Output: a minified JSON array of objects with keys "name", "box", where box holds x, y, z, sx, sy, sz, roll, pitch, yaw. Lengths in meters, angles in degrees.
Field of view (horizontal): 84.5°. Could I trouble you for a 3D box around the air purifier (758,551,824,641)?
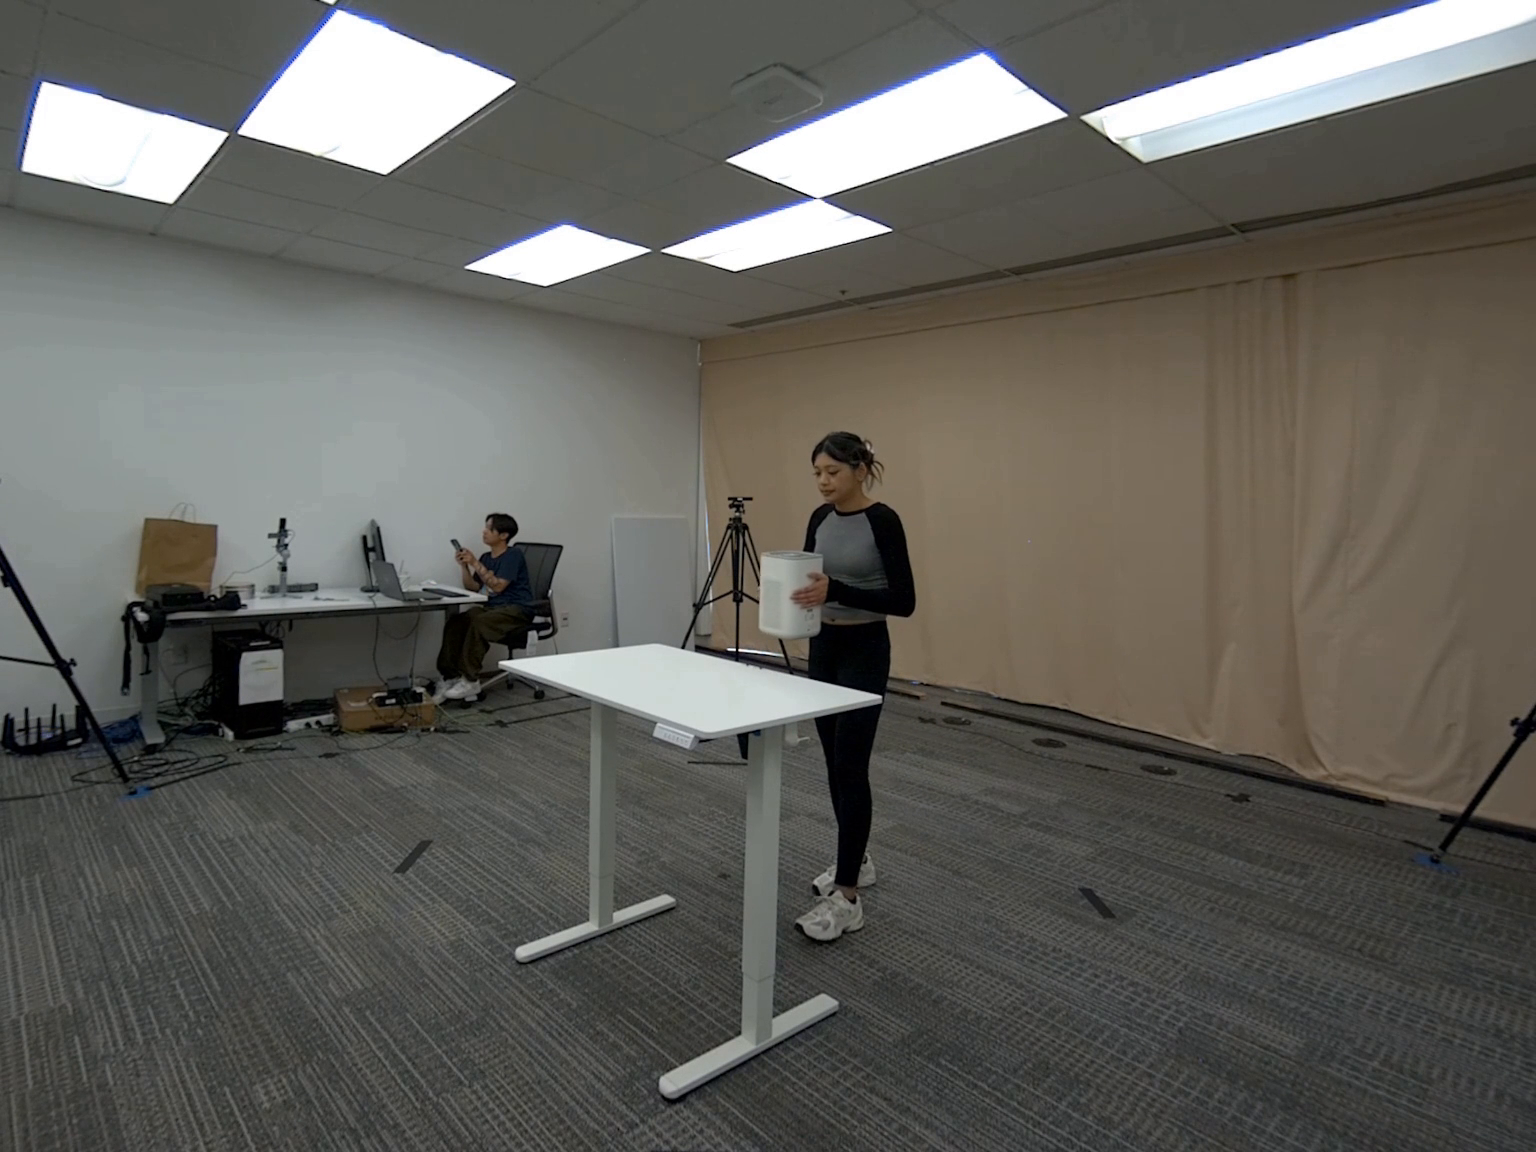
[{"name":"air purifier","box":[0.069,0.065,2.692,0.176,0.264,0.167,9,10,44]}]
